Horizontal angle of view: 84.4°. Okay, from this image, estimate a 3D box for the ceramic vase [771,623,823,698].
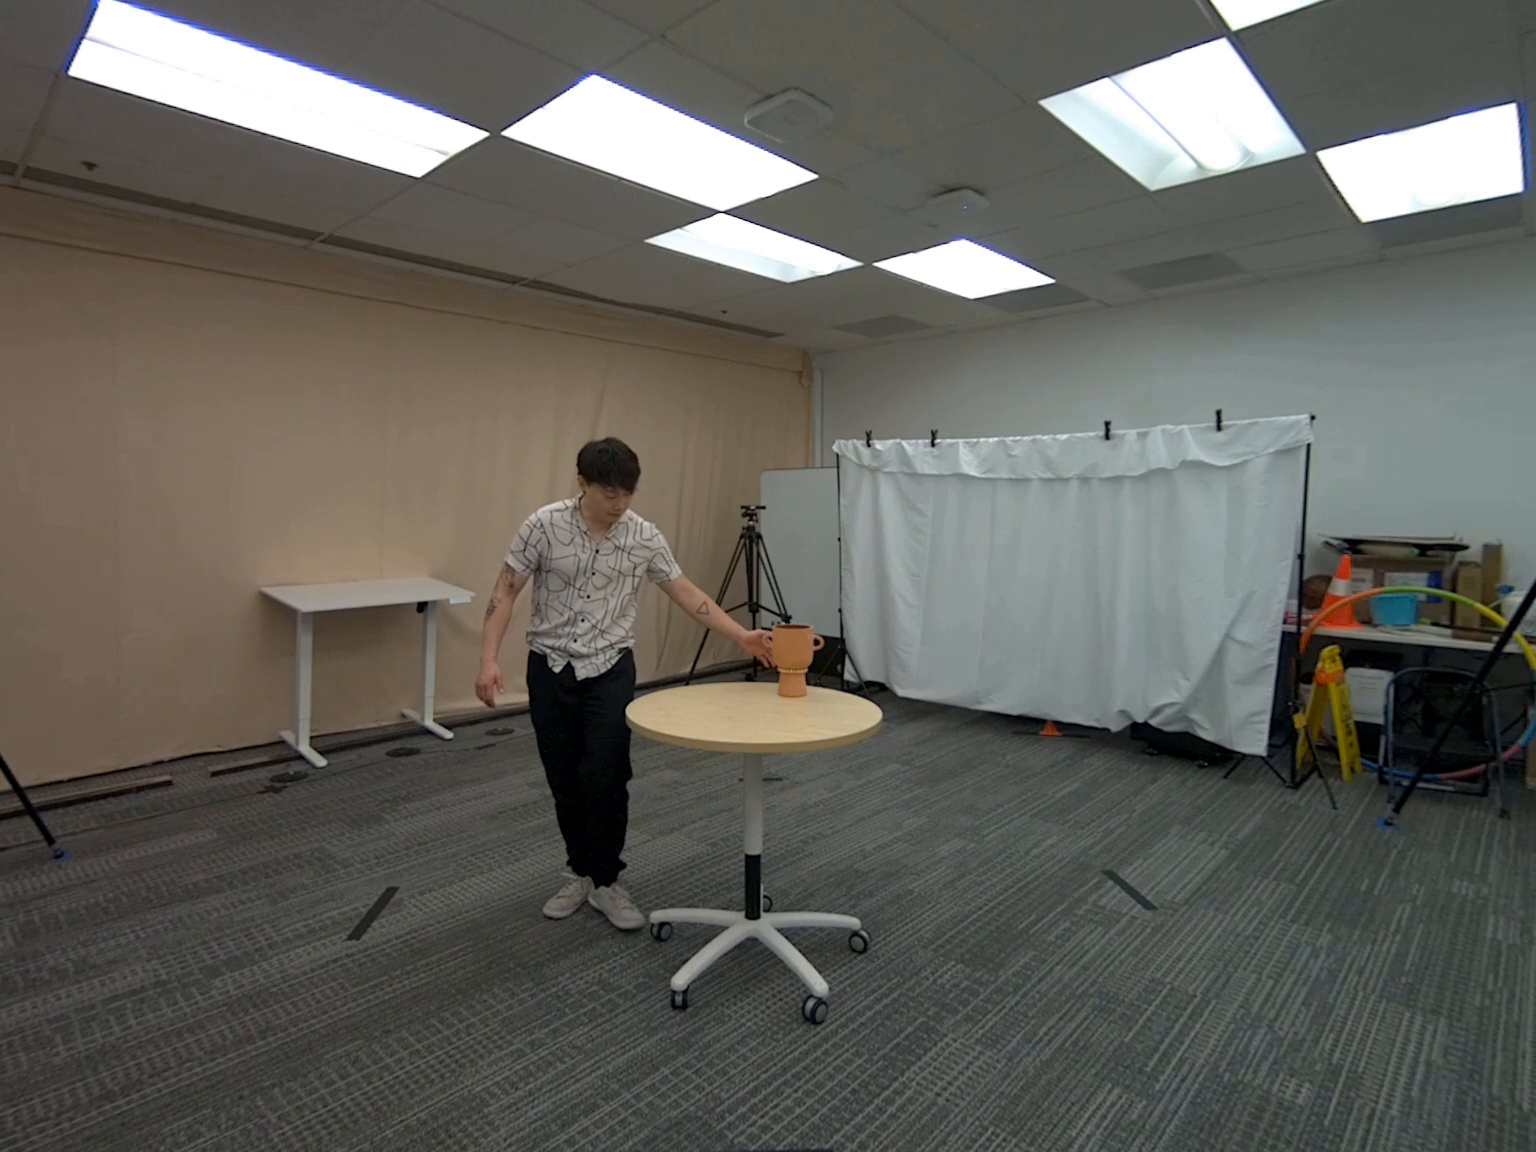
[{"bbox_3d":[0.085,0.275,2.724,0.130,0.219,0.164,-1,3,-41],"label":"ceramic vase"}]
